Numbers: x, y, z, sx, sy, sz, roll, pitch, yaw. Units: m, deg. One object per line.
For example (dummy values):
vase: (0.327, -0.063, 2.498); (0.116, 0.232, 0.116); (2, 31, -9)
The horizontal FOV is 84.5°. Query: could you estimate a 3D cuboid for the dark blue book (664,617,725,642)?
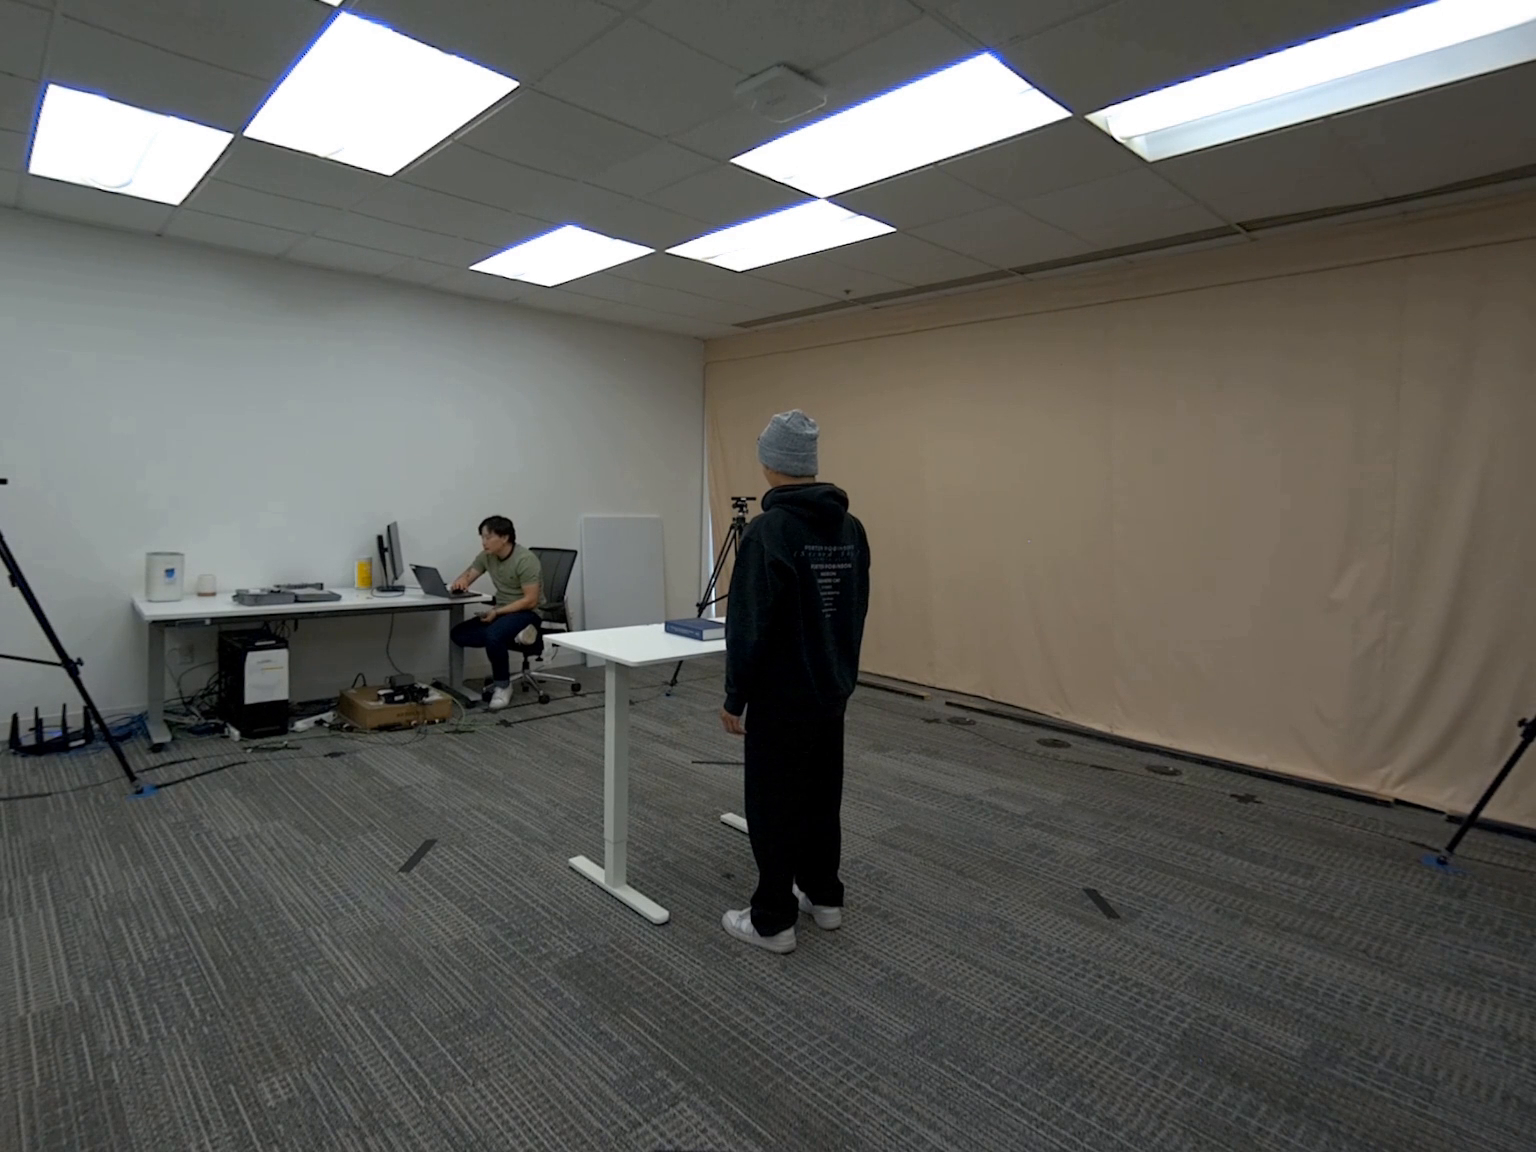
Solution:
dark blue book: (-0.267, 0.201, 3.143); (0.160, 0.045, 0.251); (-4, 7, -40)
